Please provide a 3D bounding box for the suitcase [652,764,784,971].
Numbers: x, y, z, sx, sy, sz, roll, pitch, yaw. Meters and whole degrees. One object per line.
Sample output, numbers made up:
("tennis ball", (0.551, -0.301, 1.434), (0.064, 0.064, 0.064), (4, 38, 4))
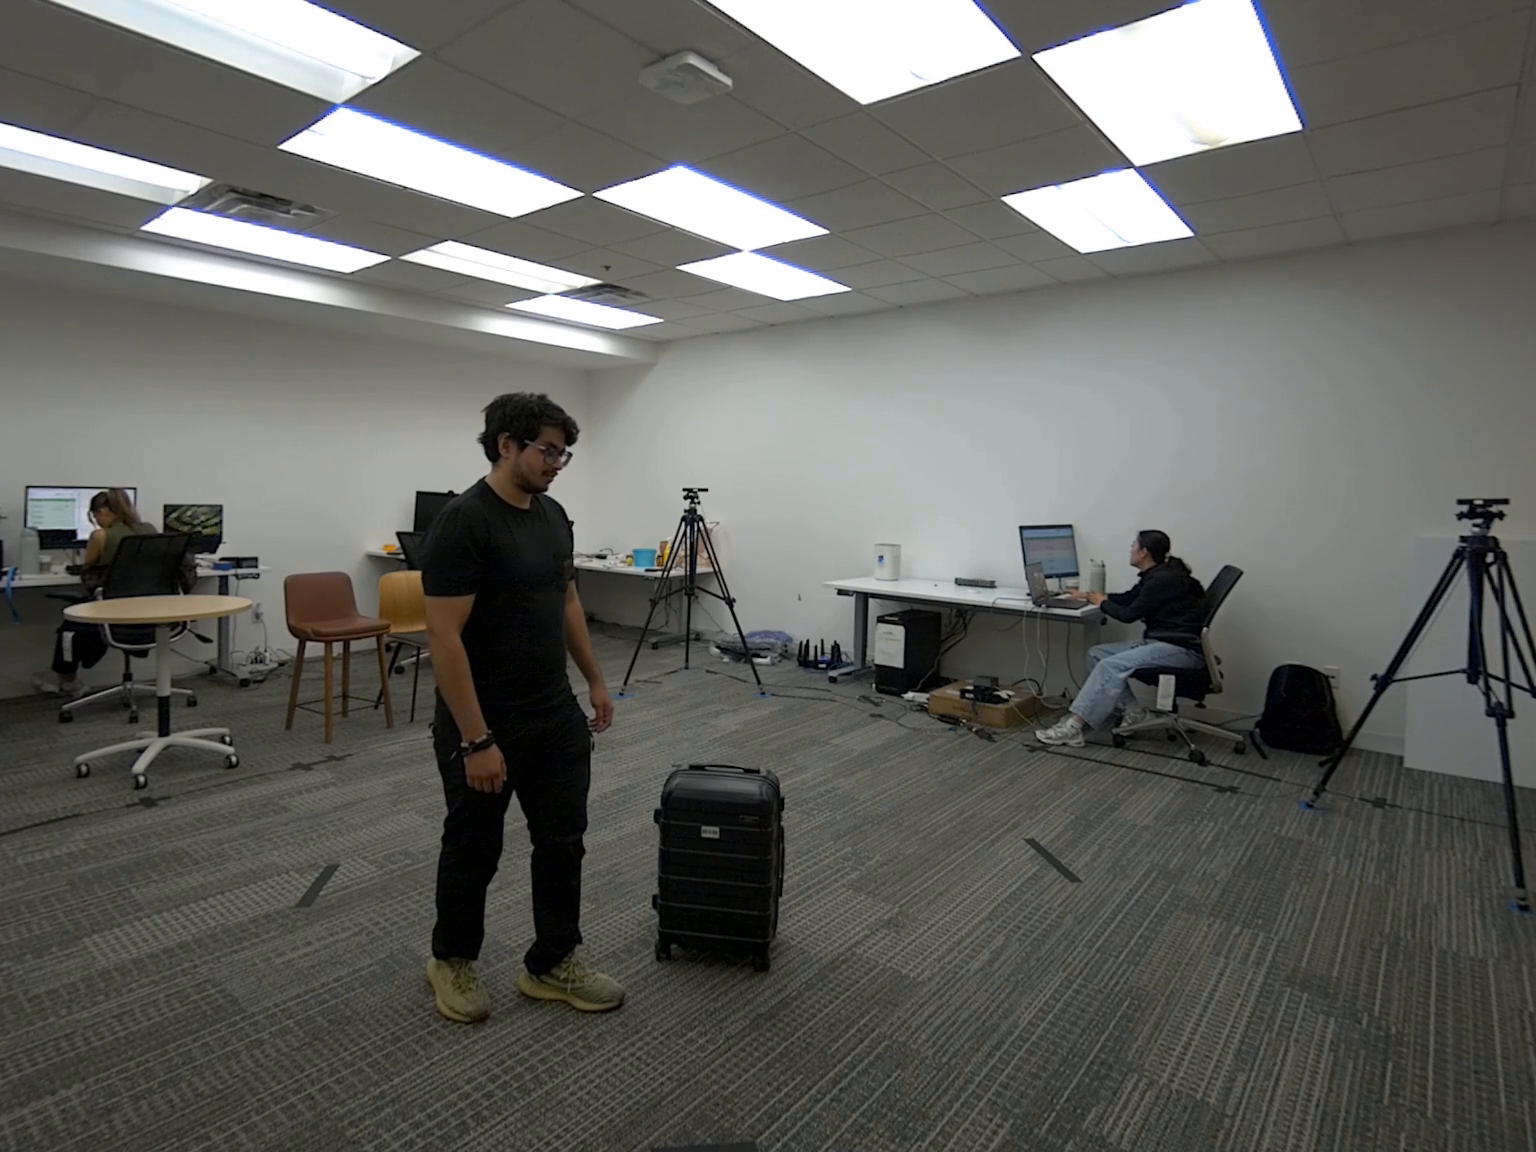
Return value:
("suitcase", (-0.148, 0.848, 2.558), (0.379, 0.547, 0.247), (2, 5, 9))
